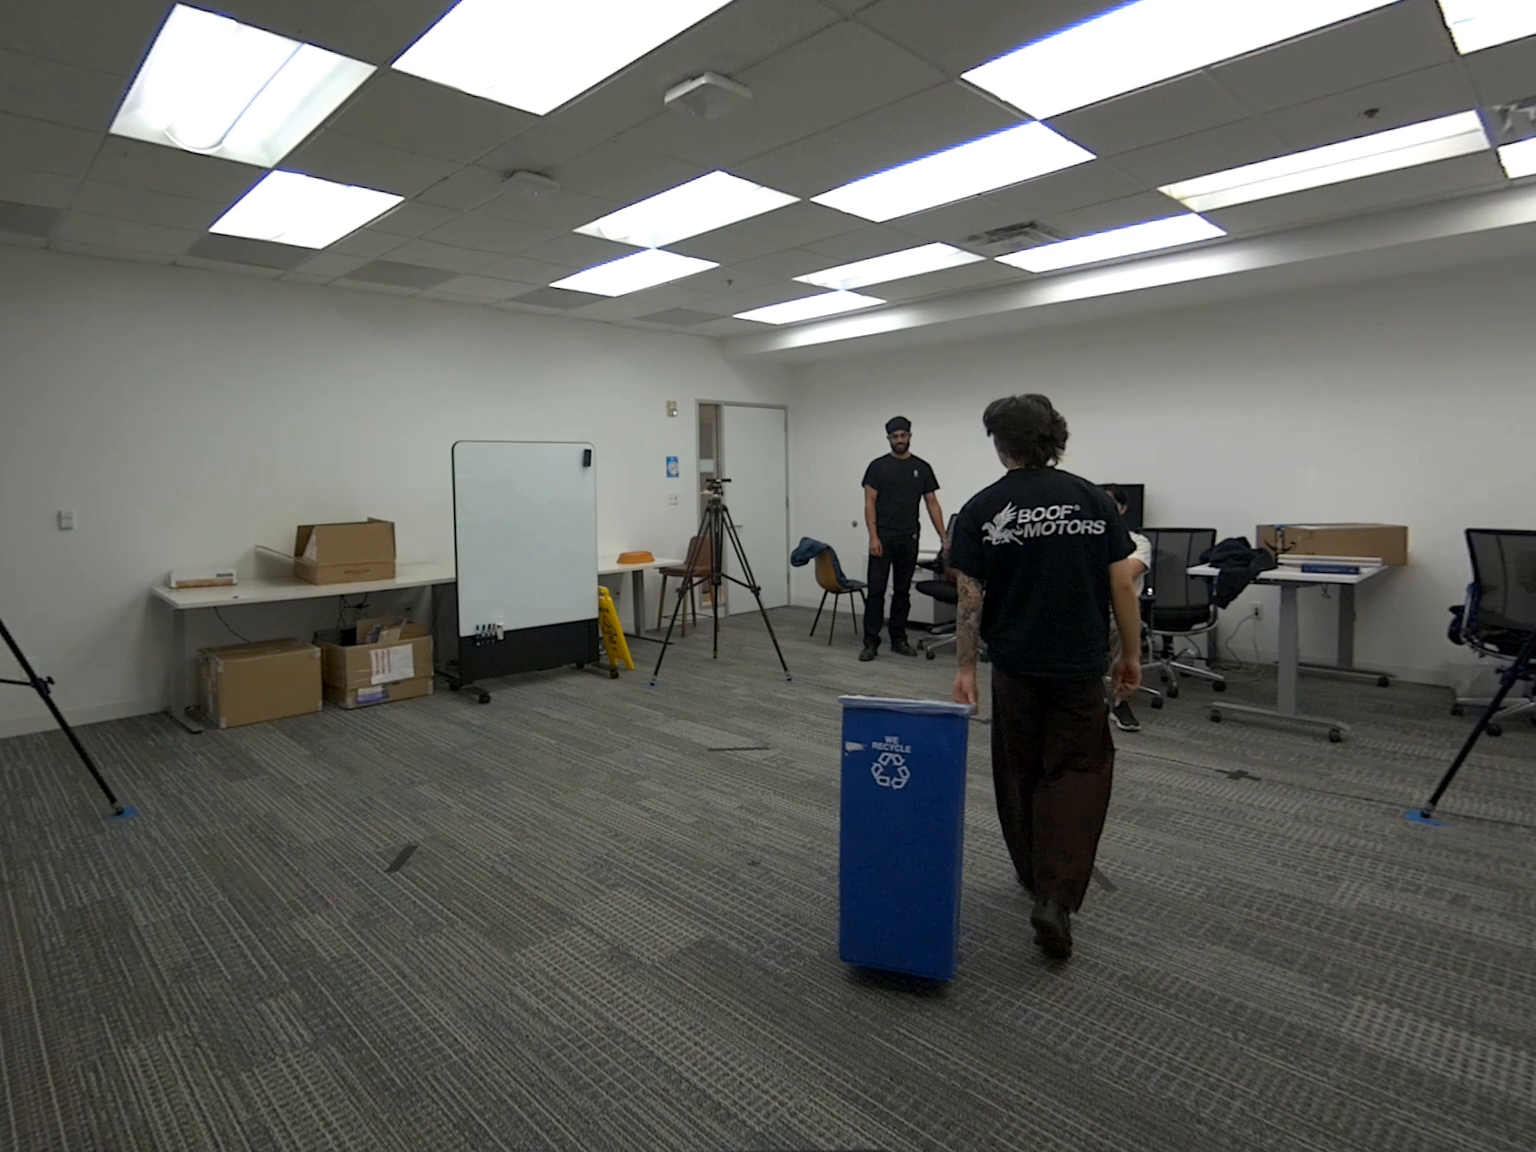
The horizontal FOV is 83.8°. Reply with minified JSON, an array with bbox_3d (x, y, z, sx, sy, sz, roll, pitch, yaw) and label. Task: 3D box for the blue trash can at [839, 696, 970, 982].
[{"bbox_3d":[0.417,0.727,2.486,0.381,0.719,0.368,0,-9,19],"label":"blue trash can"}]
